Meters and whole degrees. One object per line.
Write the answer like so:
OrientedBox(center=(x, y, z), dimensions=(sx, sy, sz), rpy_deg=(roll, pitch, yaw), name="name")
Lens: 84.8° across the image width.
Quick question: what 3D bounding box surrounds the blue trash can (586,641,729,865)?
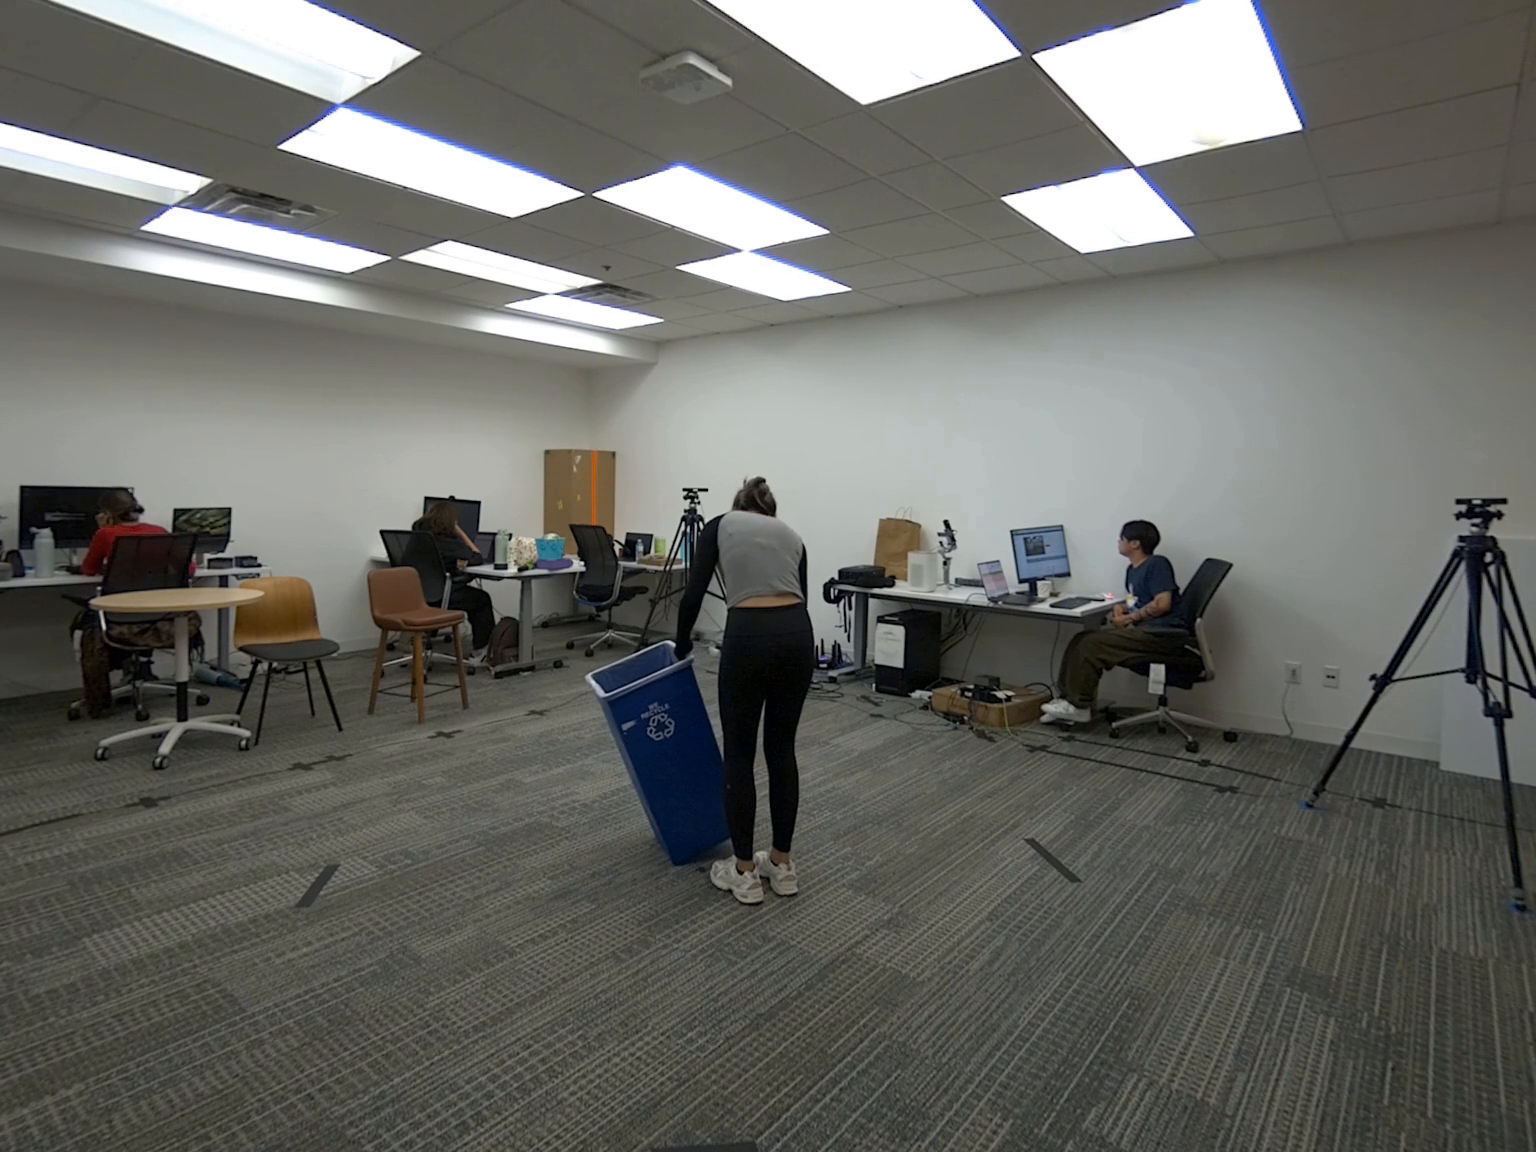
OrientedBox(center=(-0.385, 0.662, 3.258), dimensions=(0.370, 0.705, 0.387), rpy_deg=(-22, 11, -18), name="blue trash can")
